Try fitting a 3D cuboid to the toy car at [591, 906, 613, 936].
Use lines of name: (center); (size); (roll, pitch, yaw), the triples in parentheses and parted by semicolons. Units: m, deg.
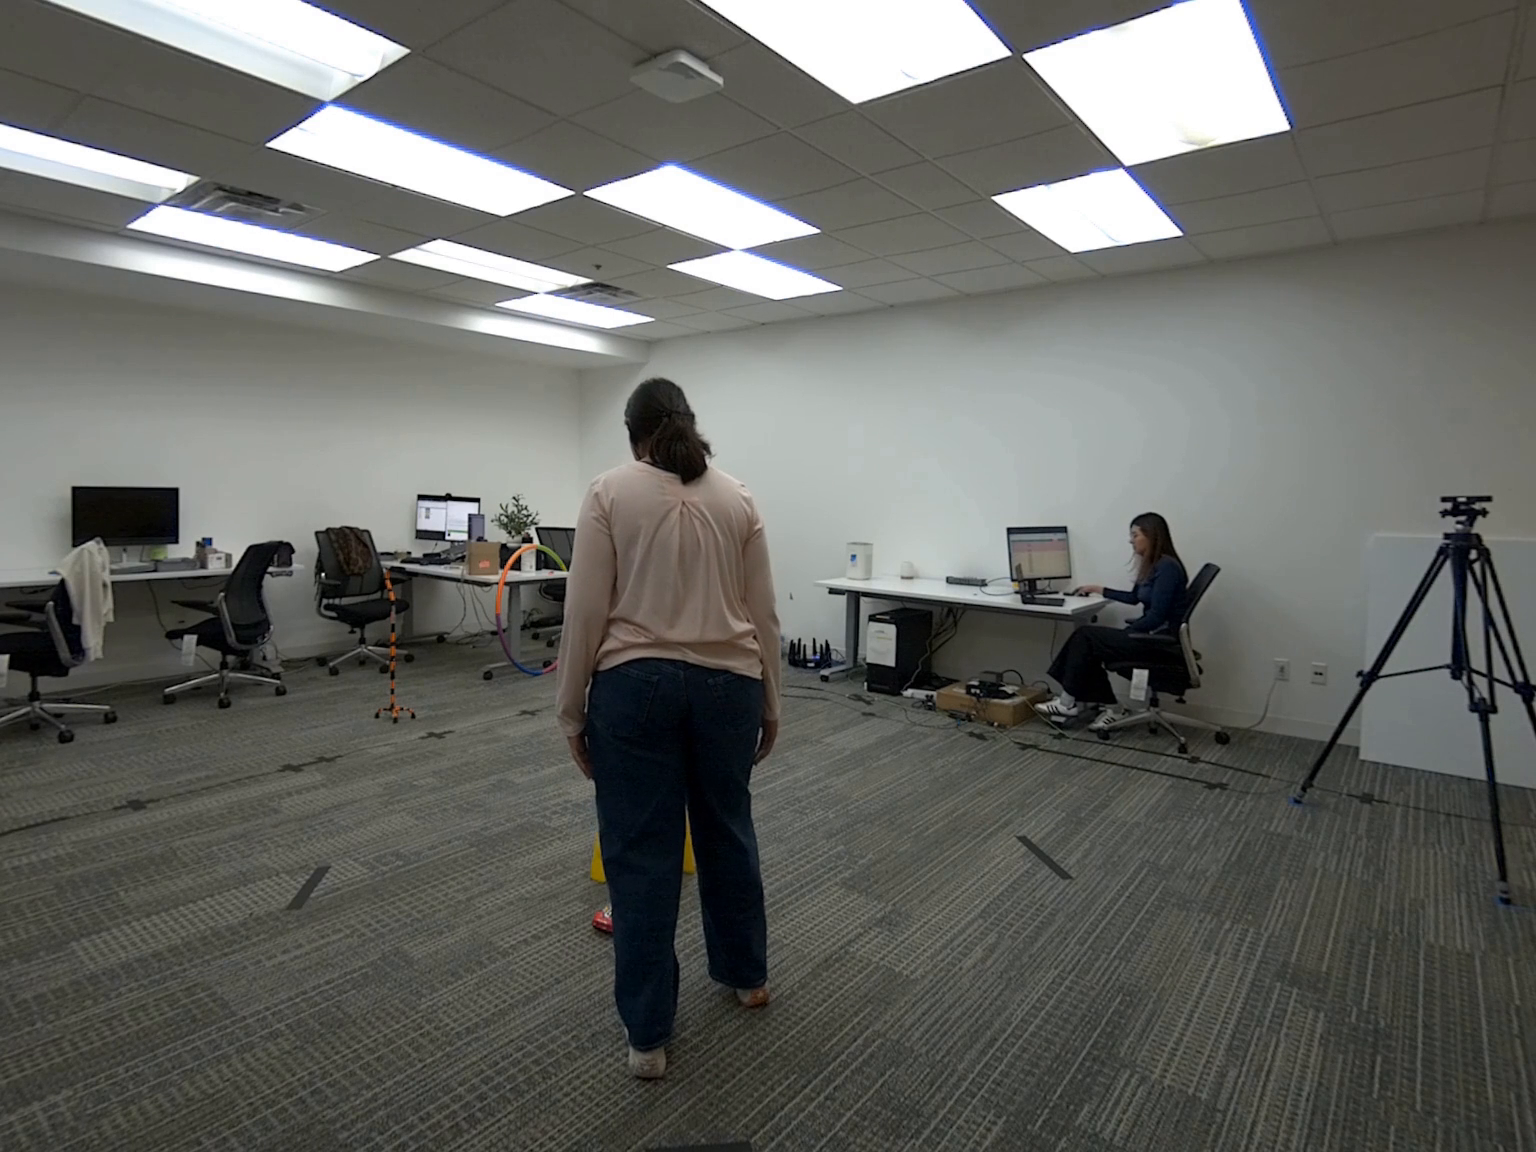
toy car: (-0.451, 1.061, 2.730); (0.134, 0.082, 0.251); (4, 18, 28)
